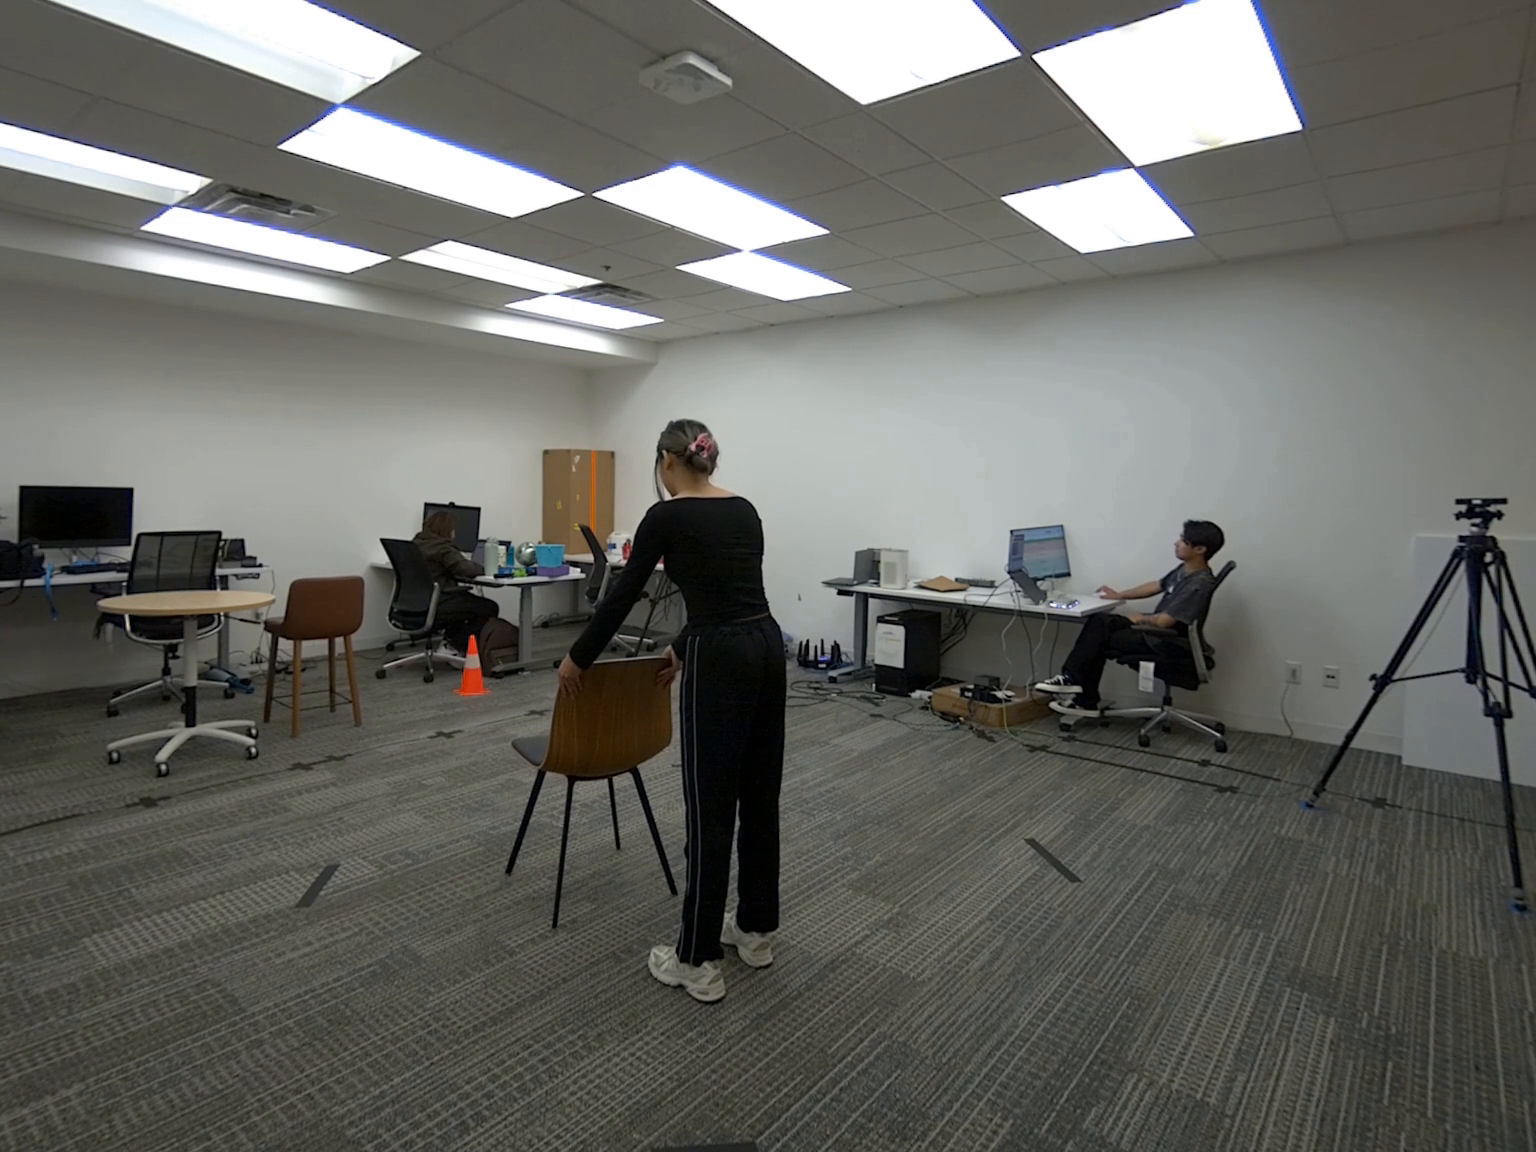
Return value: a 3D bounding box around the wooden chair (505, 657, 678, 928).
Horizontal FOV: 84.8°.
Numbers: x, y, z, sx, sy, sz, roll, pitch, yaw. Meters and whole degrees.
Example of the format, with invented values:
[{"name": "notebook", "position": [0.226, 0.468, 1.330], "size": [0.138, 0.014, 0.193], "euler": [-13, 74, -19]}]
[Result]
[{"name": "wooden chair", "position": [-0.628, 0.651, 2.952], "size": [0.464, 0.872, 0.542], "euler": [-1, 8, -35]}]
